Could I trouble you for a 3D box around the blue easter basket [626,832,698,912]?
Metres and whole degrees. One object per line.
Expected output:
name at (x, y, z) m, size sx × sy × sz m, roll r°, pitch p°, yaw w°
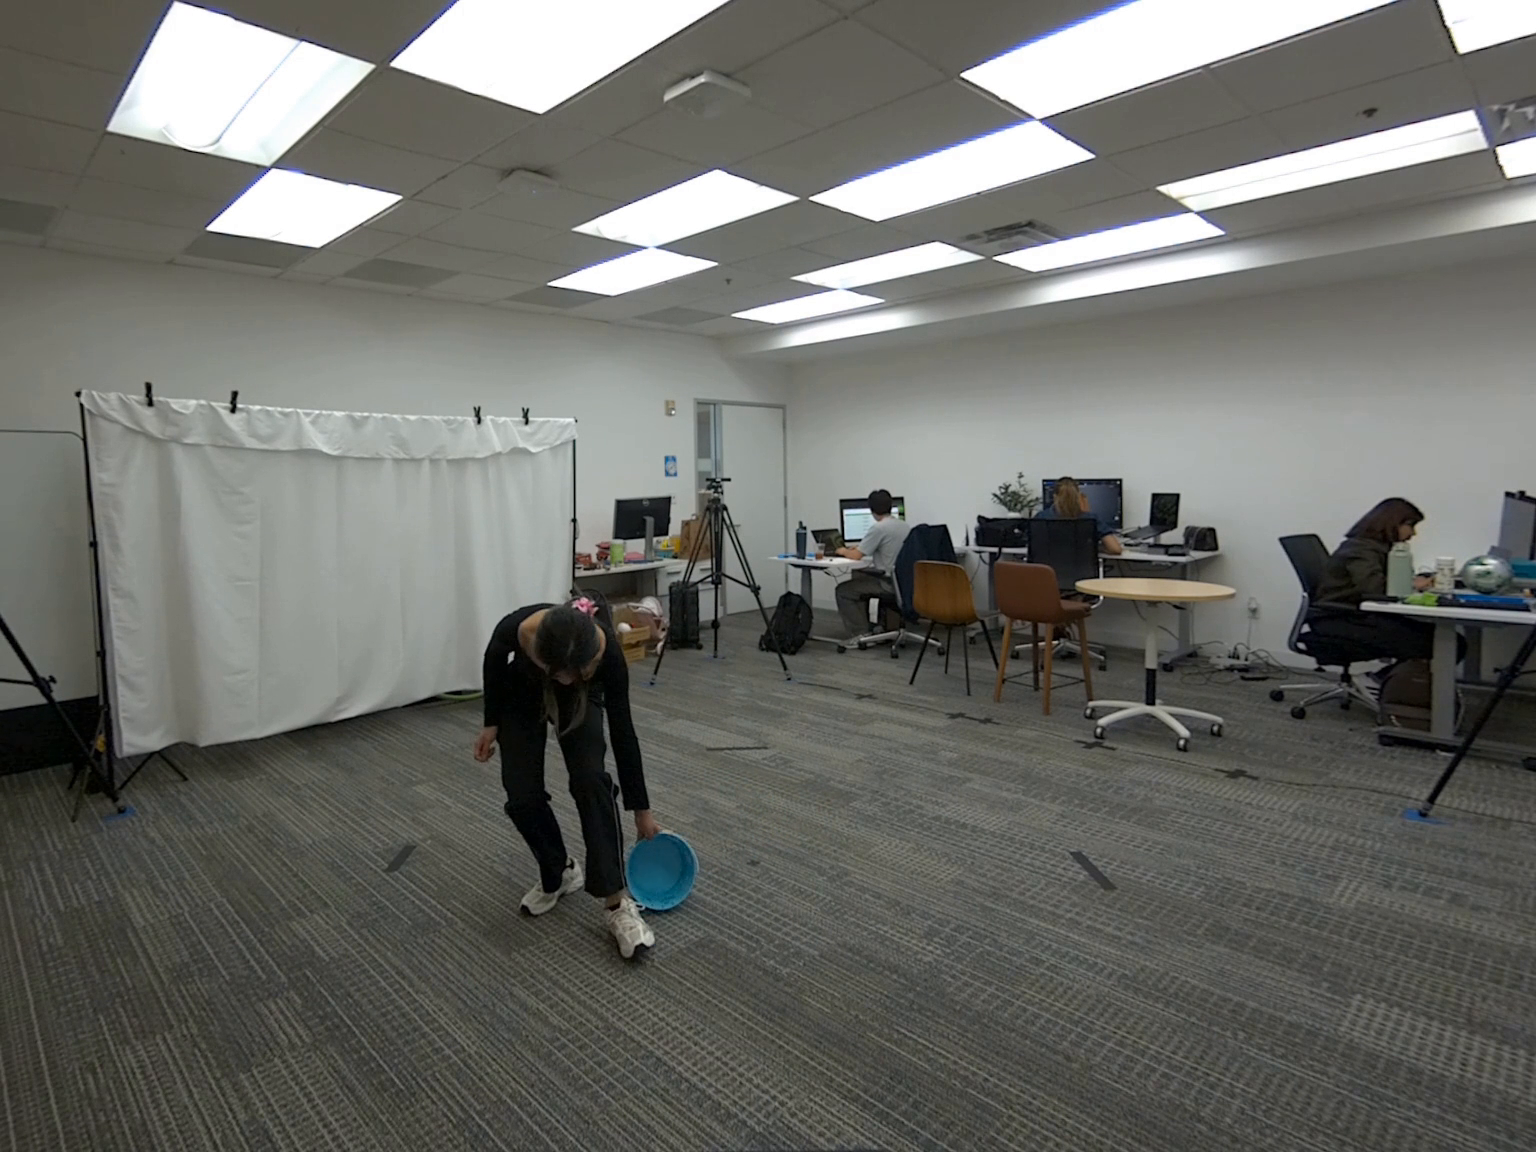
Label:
blue easter basket at (-0.350, 0.963, 2.831) m, size 0.242 × 0.247 × 0.155 m, roll -2°, pitch -14°, yaw -8°
